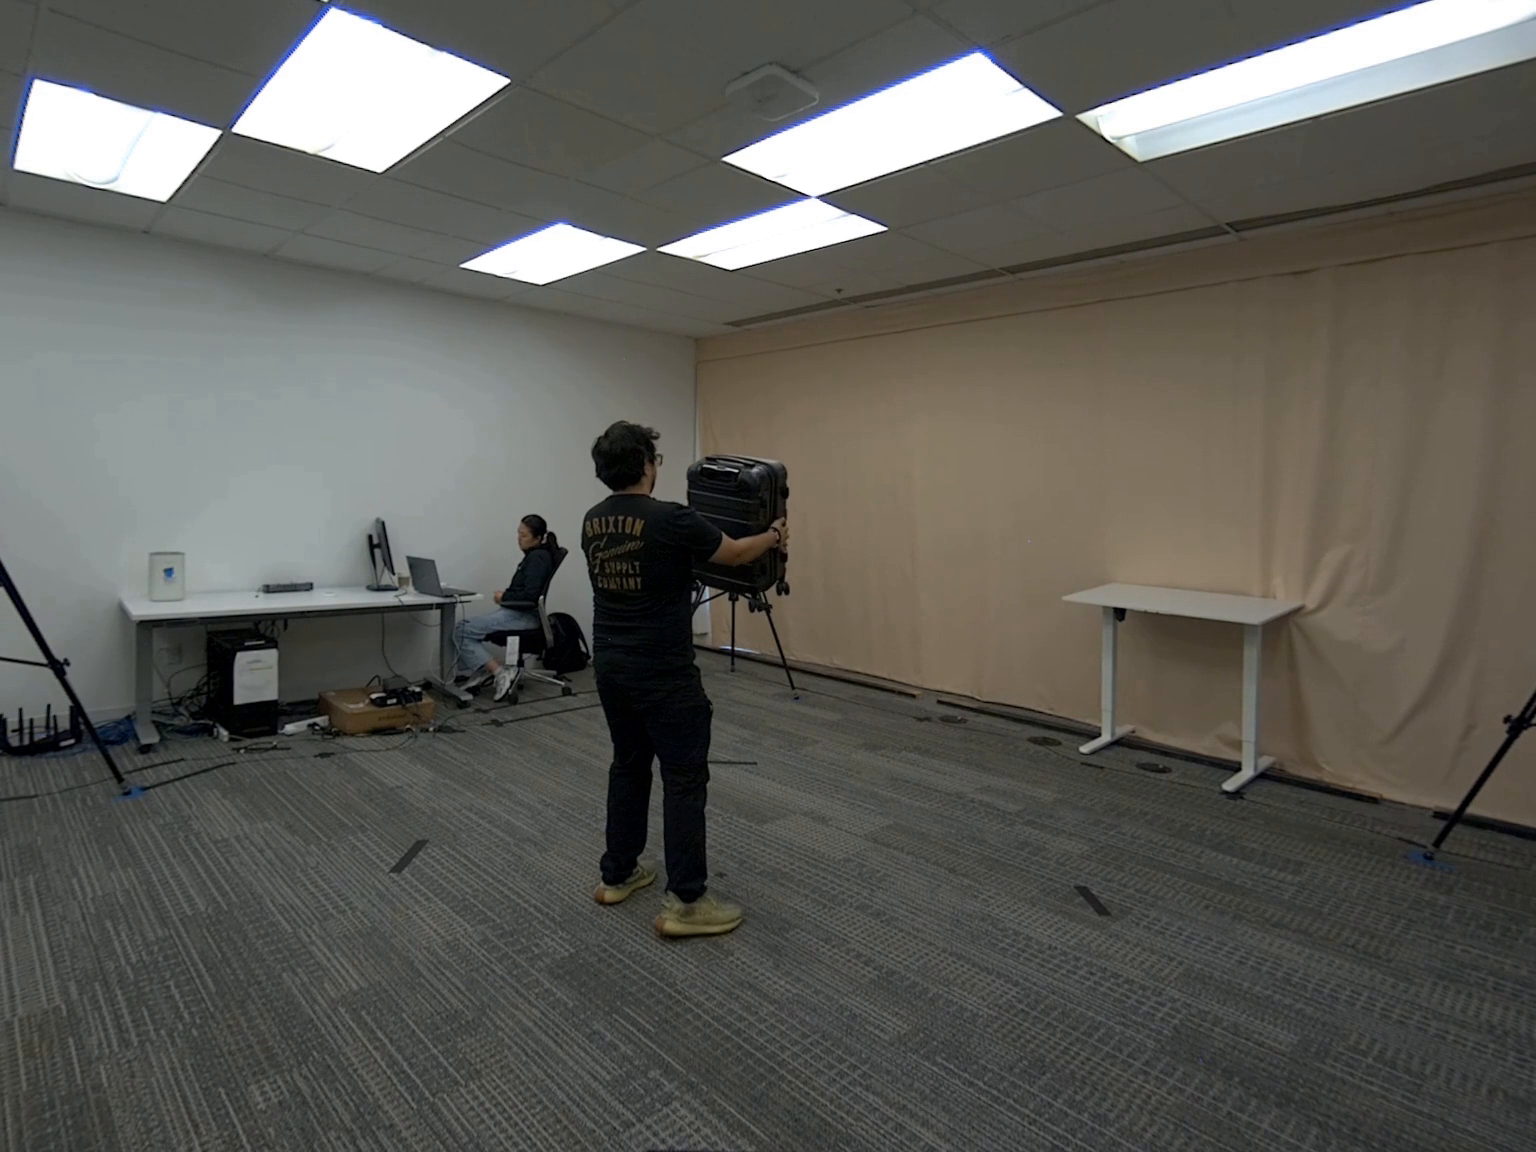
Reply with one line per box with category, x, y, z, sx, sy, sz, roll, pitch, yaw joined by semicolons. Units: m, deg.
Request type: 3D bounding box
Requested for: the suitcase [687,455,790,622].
suitcase;-0.120;-0.191;3.247;0.385;0.542;0.245;12;21;34
